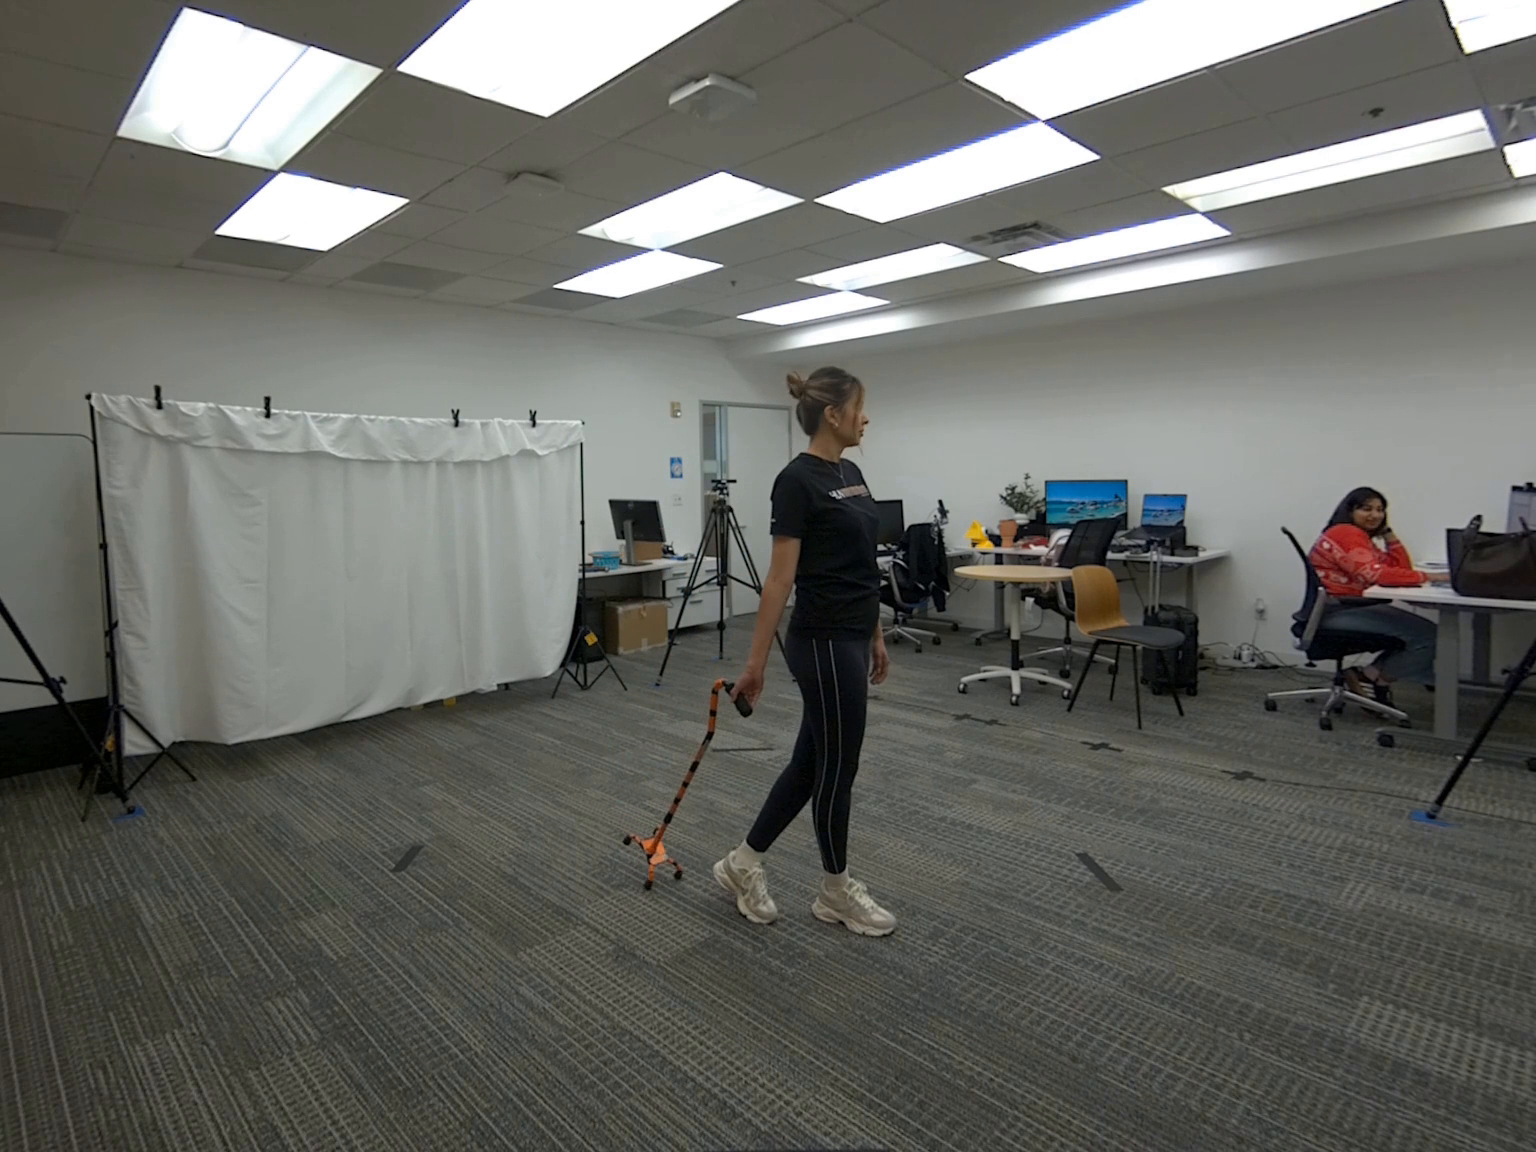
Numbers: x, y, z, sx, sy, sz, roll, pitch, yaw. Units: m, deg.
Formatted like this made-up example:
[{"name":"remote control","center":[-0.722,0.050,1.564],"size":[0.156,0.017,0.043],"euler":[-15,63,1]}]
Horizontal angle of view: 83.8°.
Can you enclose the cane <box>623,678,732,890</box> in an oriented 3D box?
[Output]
[{"name":"cane","center":[-0.254,0.669,2.772],"size":[0.148,0.896,0.214],"euler":[-6,44,-36]}]
